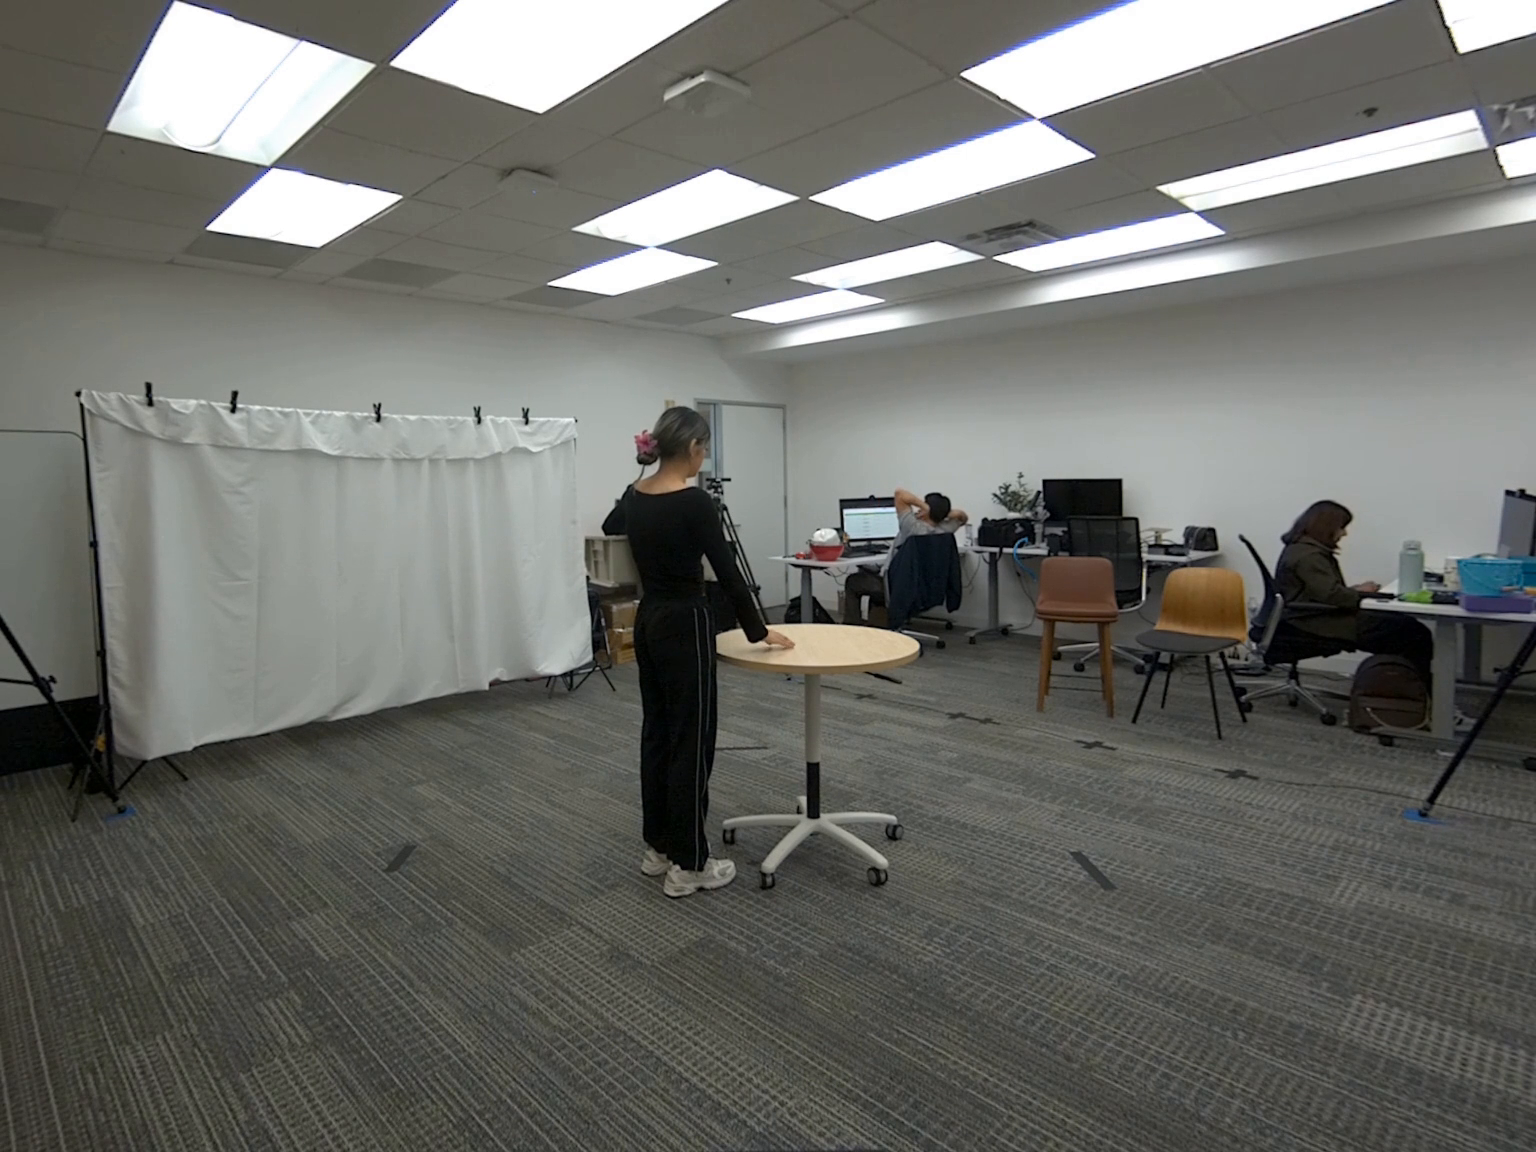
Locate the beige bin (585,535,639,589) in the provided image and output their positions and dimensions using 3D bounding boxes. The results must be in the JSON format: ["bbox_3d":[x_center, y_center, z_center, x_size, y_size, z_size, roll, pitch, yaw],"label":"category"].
[{"bbox_3d":[-0.449,-0.071,3.224,0.414,0.188,0.386,-4,5,-23],"label":"beige bin"}]
